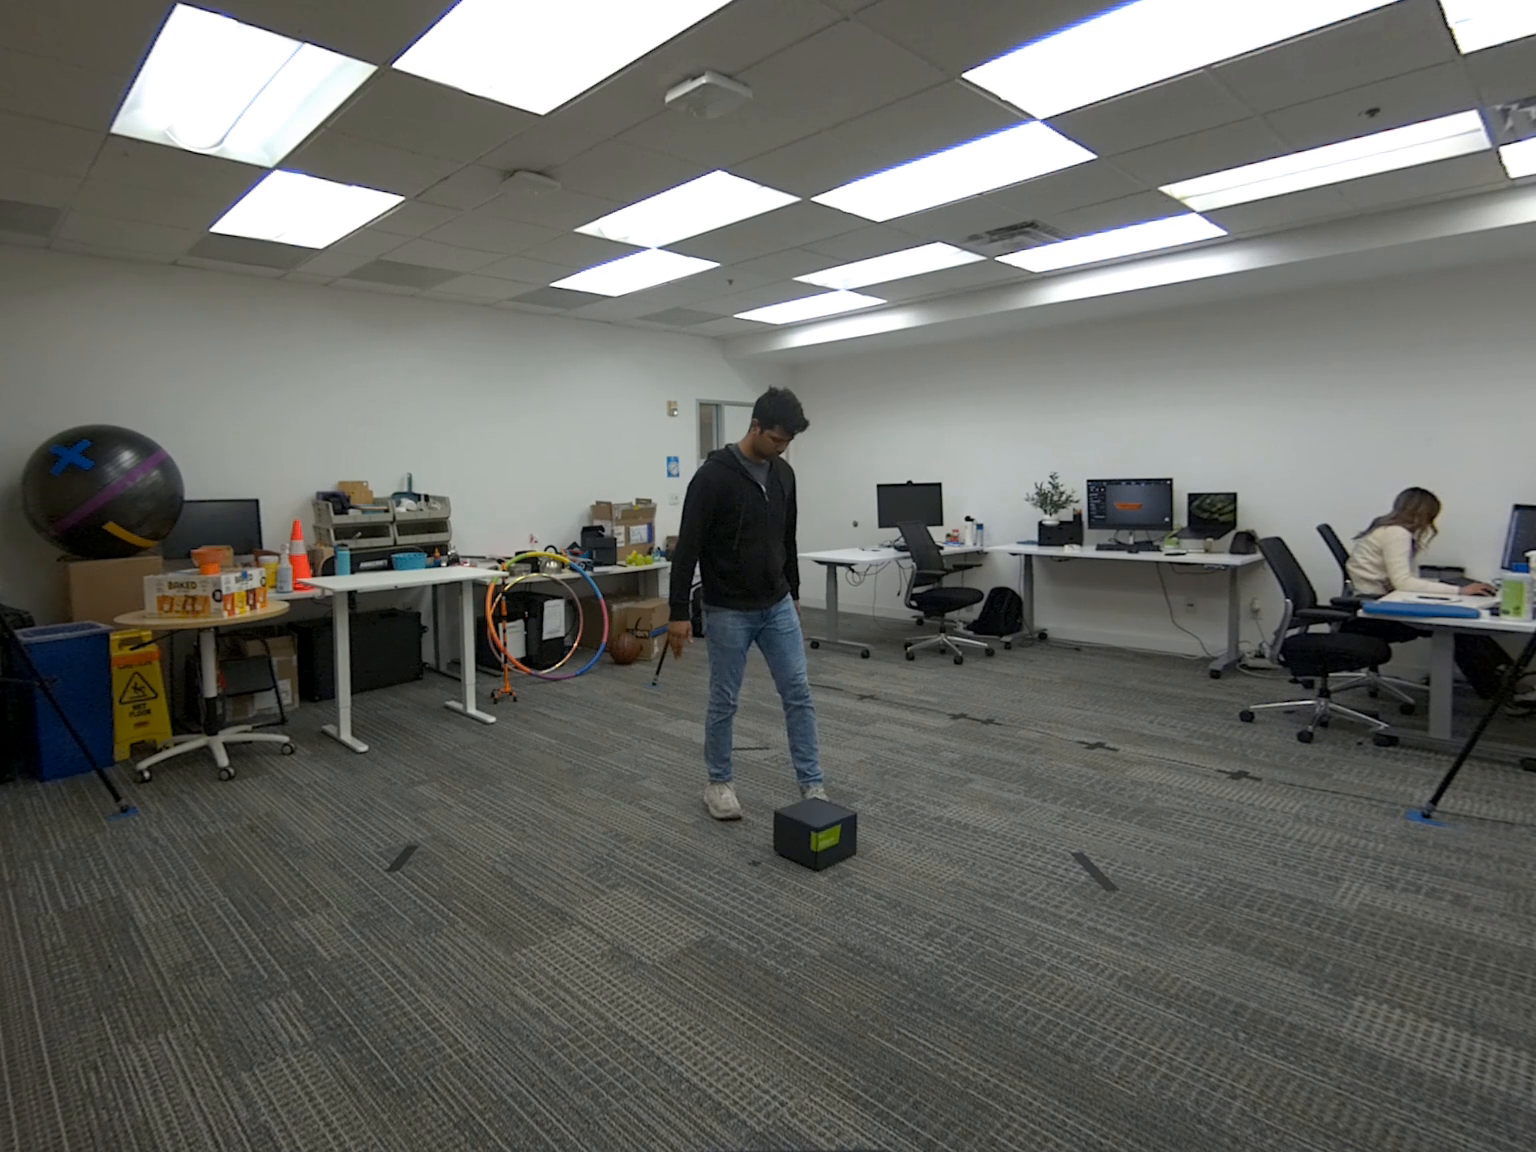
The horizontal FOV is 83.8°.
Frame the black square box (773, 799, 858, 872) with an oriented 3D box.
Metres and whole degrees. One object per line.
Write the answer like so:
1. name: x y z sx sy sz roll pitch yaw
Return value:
1. black square box: 0.174 0.947 3.170 0.222 0.155 0.224 -4 6 -45
